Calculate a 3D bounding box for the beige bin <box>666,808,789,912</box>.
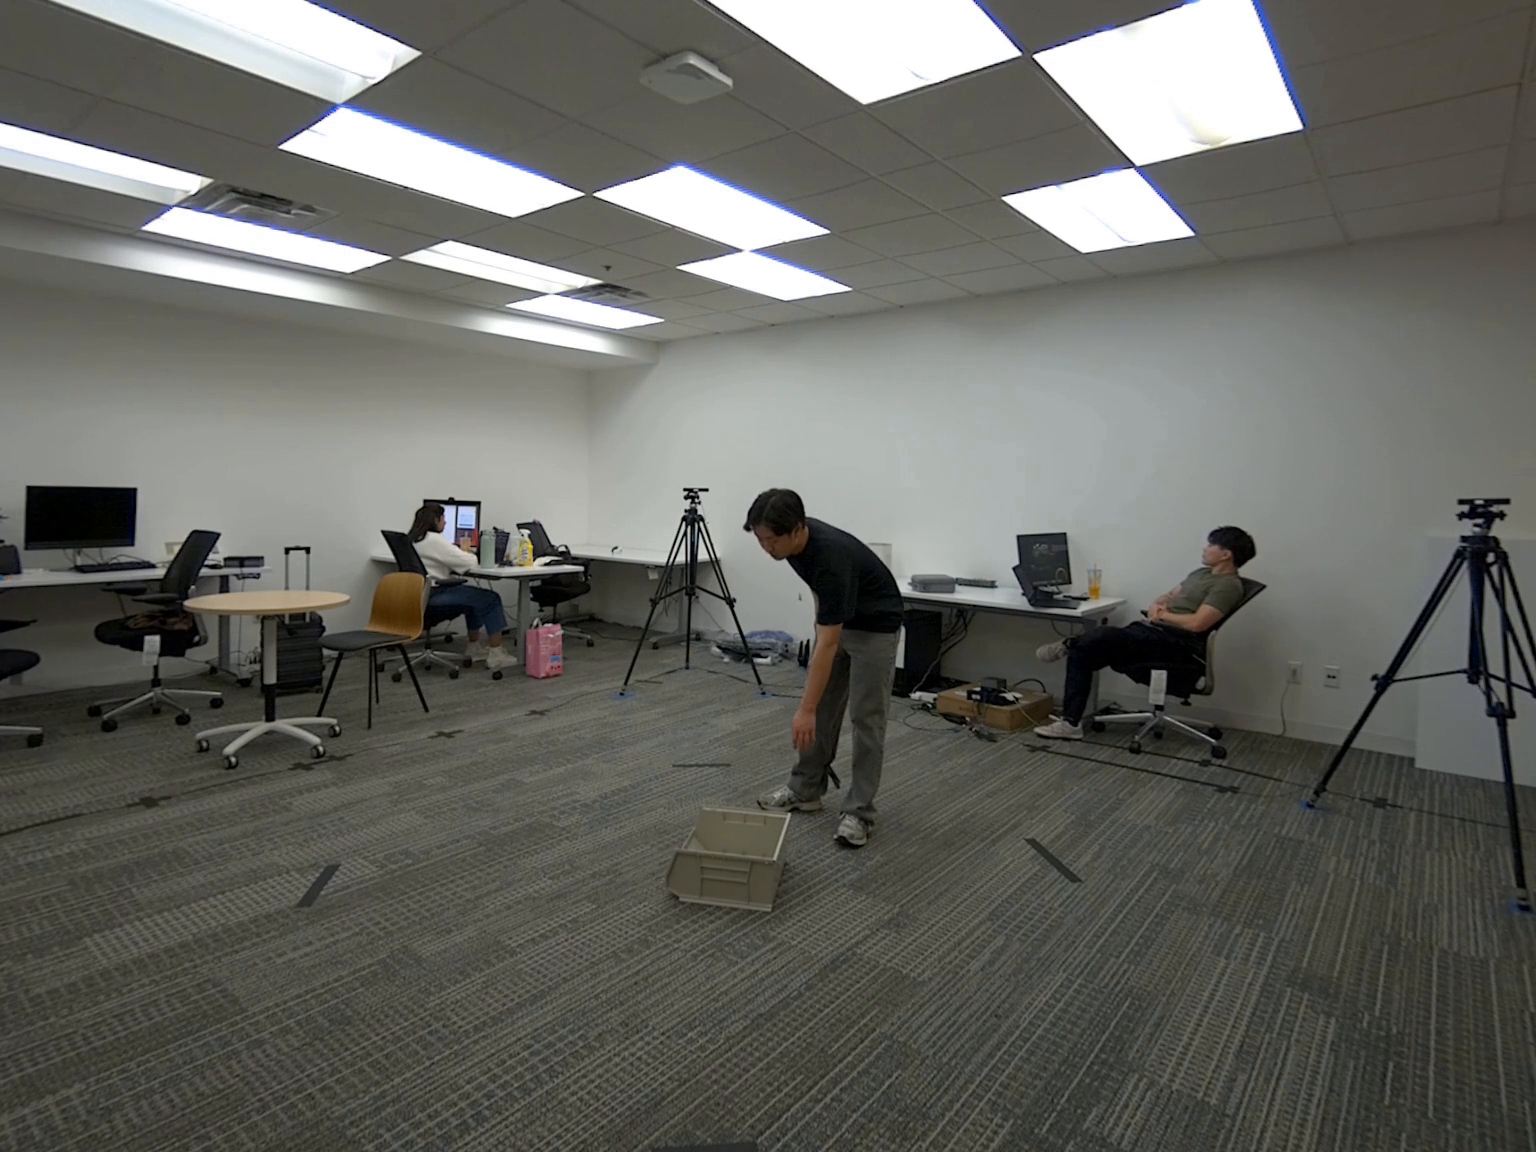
[{"bbox_3d":[-0.140,0.990,3.027,0.382,0.188,0.419,3,5,9],"label":"beige bin"}]
